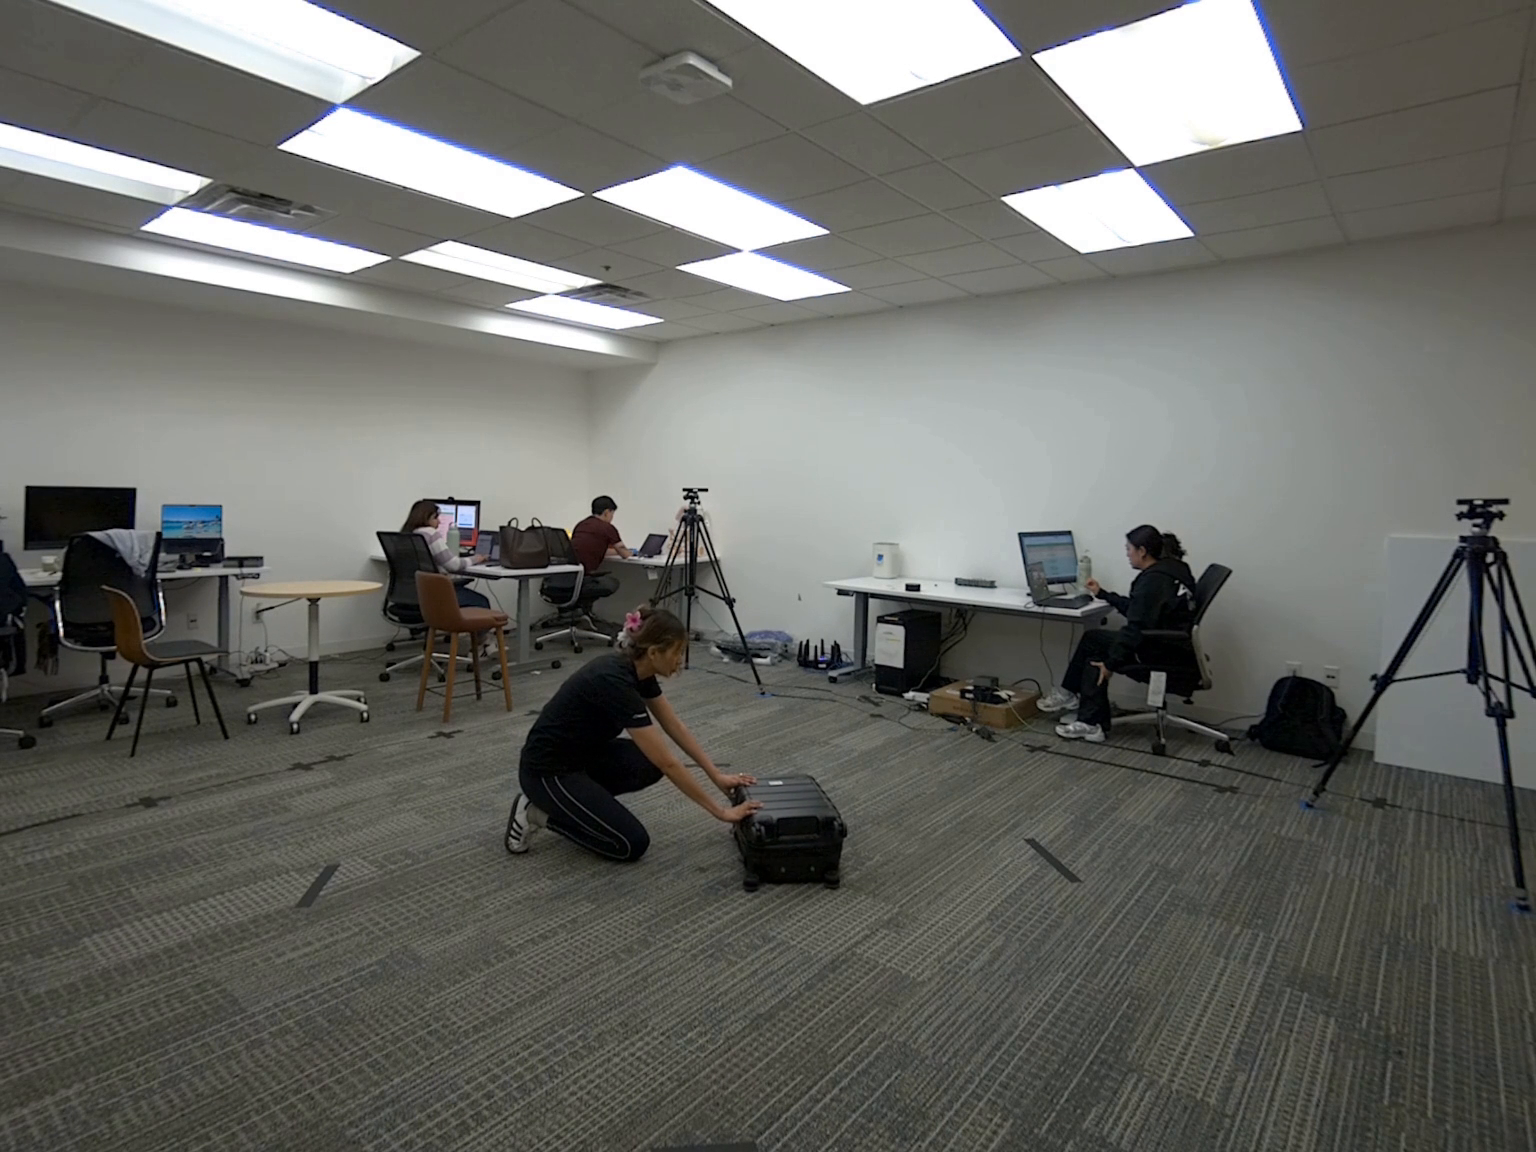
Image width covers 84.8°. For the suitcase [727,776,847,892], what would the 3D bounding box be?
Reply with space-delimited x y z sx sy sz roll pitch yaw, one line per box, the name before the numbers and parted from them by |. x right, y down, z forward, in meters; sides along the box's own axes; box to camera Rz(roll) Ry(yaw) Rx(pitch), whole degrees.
suitcase | 0.021 0.922 3.427 0.381 0.255 0.993 -2 7 -9
